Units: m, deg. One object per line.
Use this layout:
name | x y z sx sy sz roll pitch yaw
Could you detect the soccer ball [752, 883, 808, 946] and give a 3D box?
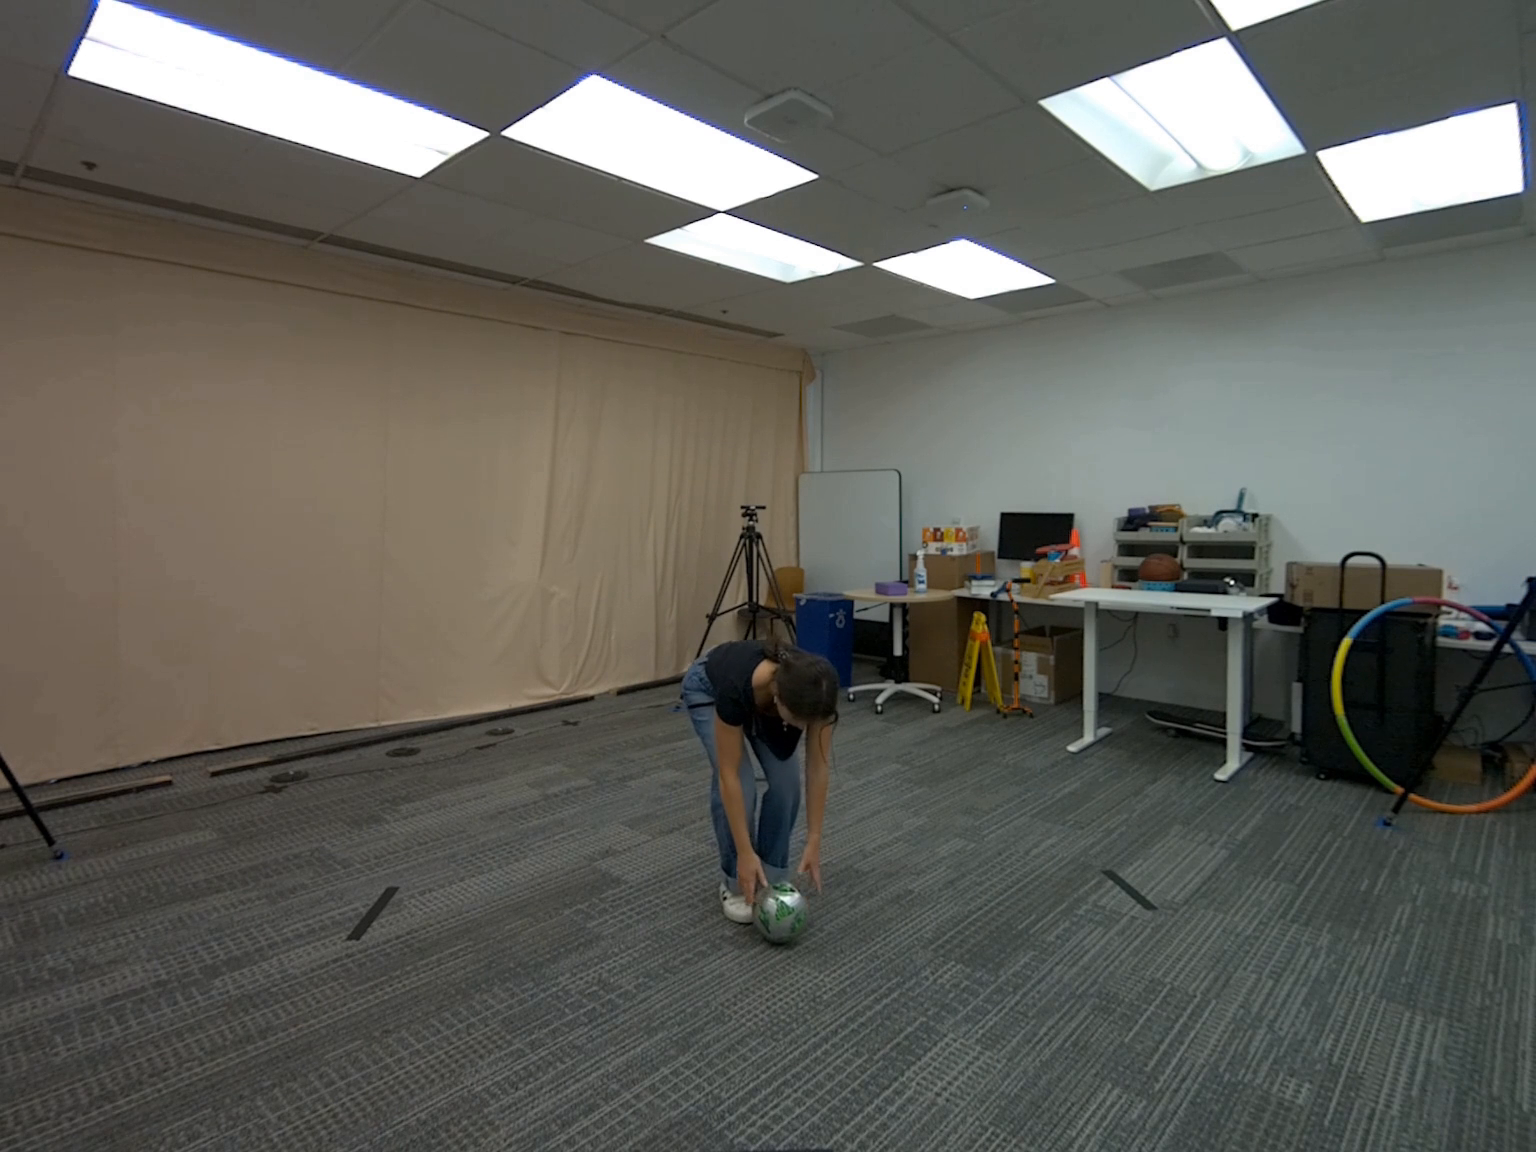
soccer ball | 0.042 1.067 2.698 0.187 0.187 0.188 0 4 -2
